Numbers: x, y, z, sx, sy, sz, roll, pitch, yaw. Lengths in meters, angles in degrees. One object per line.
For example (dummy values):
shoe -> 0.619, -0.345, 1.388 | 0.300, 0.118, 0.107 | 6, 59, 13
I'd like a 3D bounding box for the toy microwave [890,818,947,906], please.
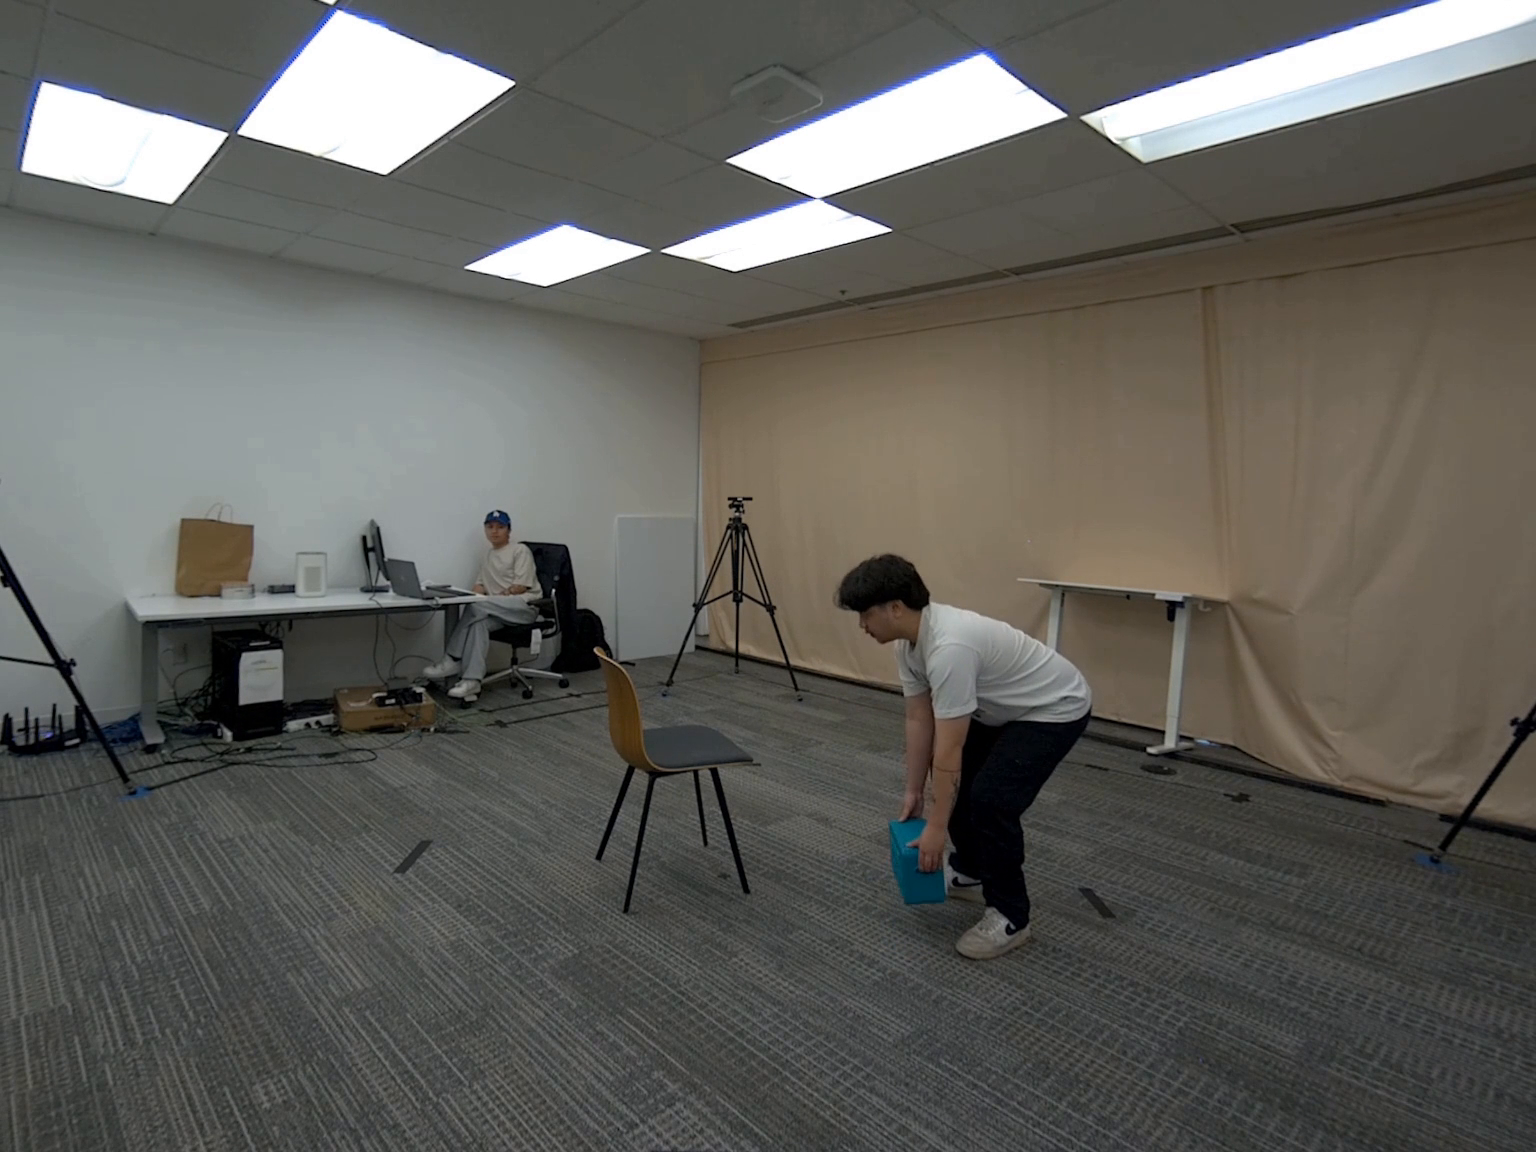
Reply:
toy microwave -> 0.484, 0.931, 2.753 | 0.153, 0.184, 0.286 | -3, 4, 2
